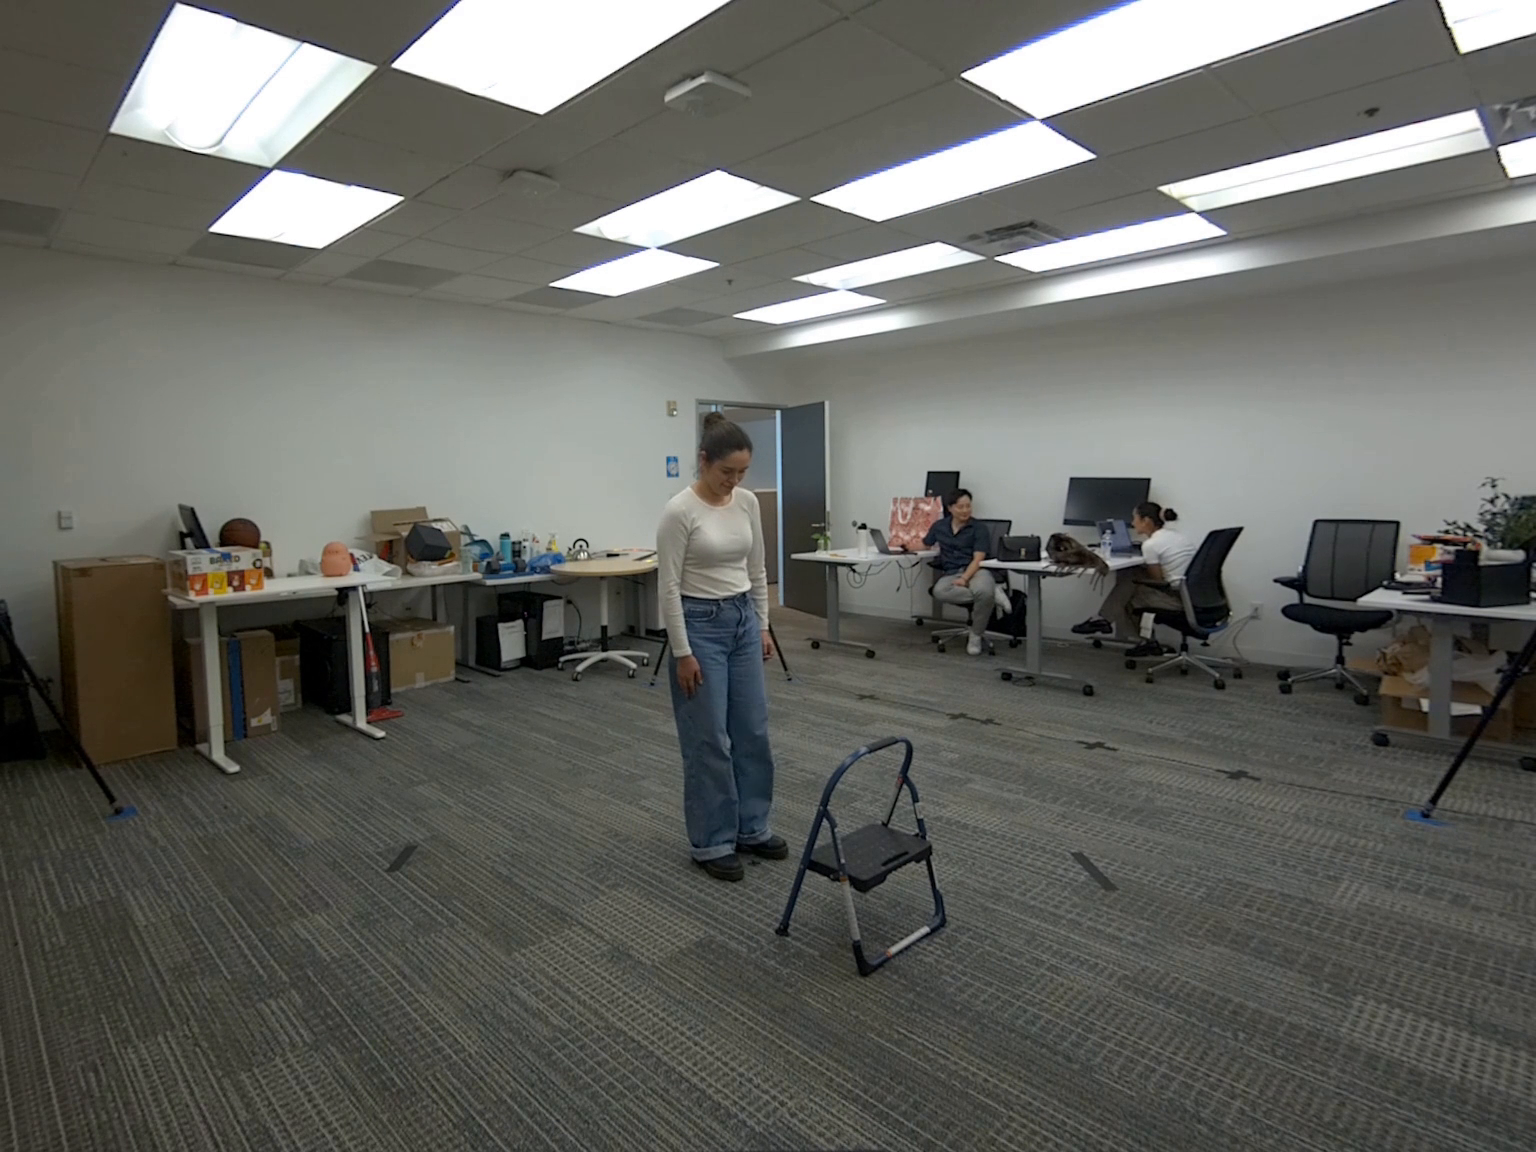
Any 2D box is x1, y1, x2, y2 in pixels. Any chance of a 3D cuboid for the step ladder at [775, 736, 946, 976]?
[{"bbox_3d":[0.290,0.791,2.627,0.360,0.604,0.419,4,7,45],"label":"step ladder"}]
